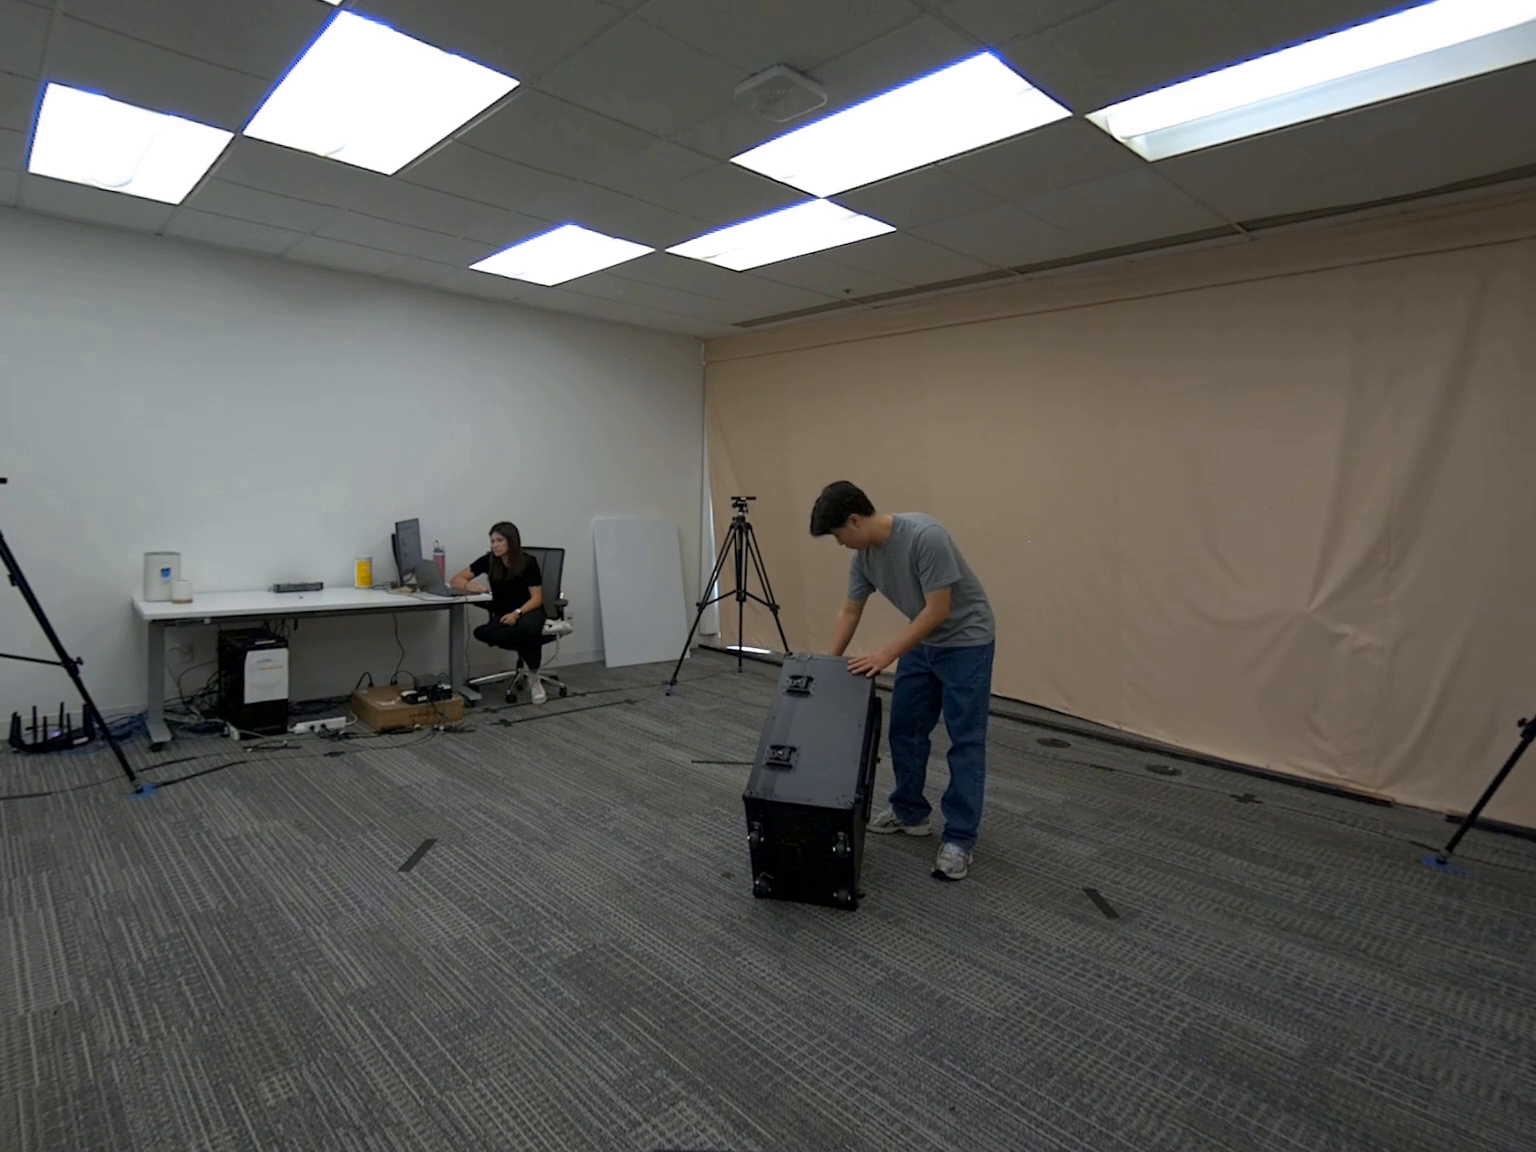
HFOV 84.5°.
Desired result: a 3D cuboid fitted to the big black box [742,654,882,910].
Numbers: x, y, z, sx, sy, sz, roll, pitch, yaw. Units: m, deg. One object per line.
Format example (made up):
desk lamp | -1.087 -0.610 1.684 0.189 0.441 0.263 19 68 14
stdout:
big black box | 0.185 0.743 3.074 0.401 0.510 0.869 2 31 13
